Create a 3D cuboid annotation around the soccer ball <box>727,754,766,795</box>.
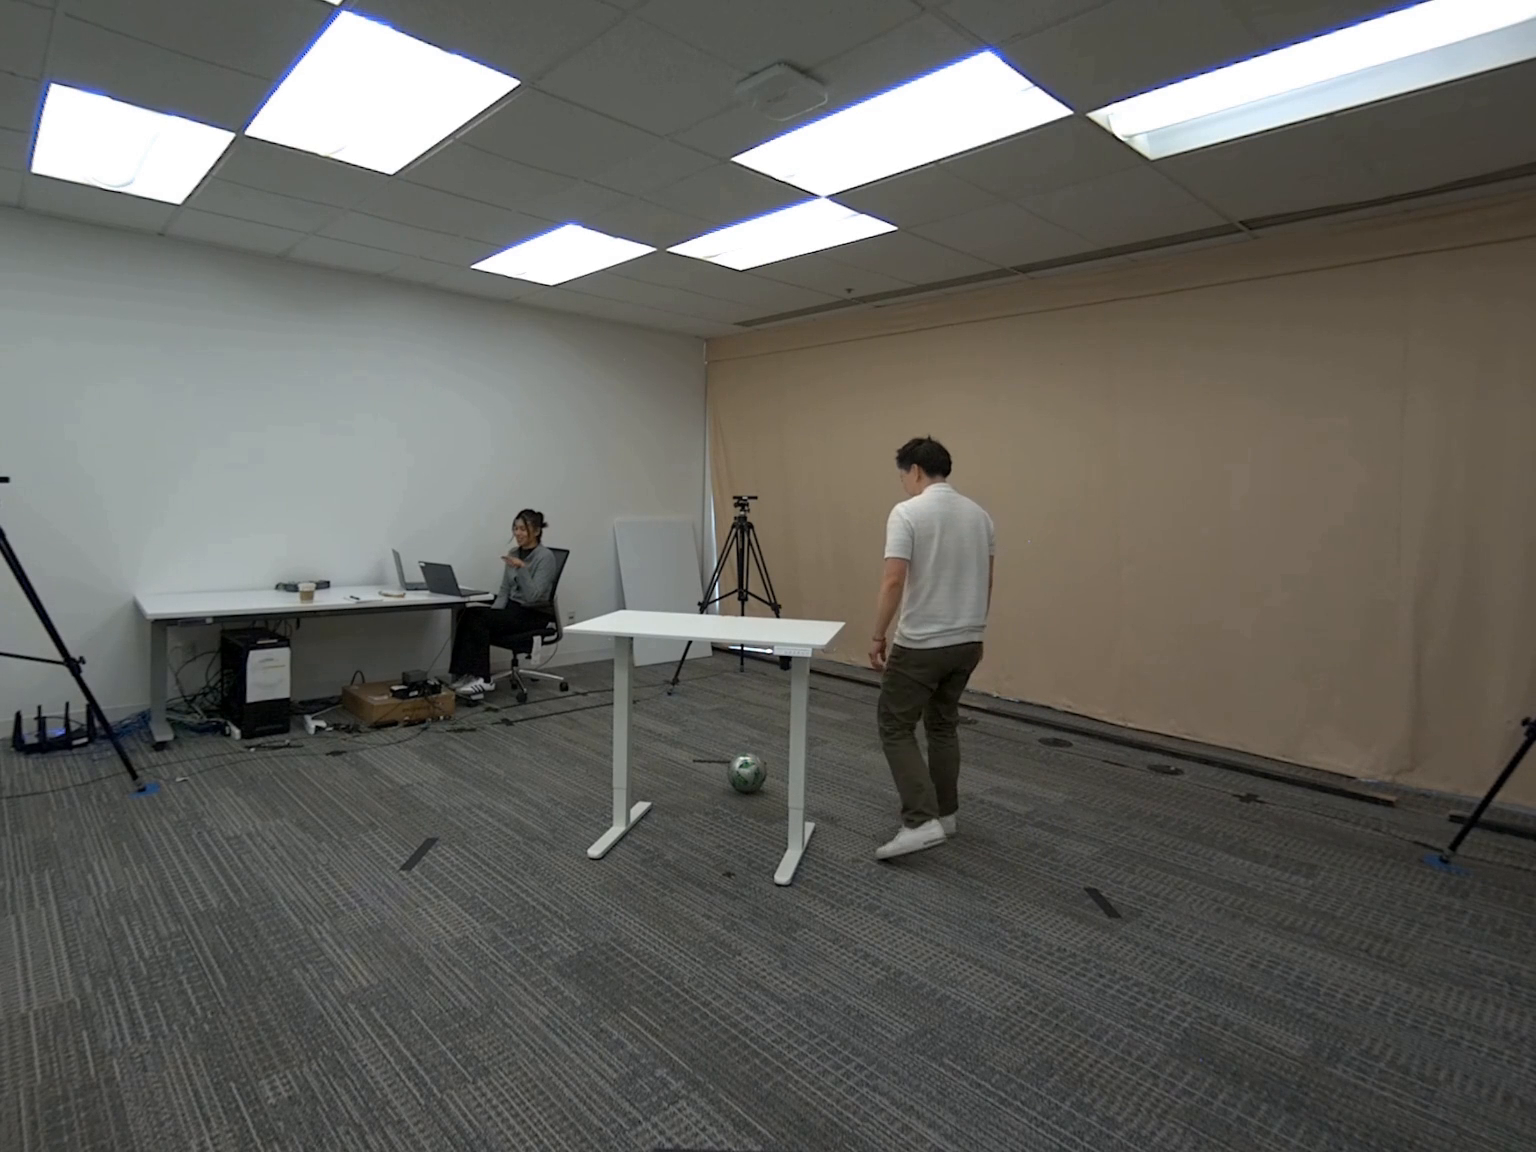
[{"bbox_3d":[-0.111,0.929,3.993,0.187,0.187,0.188,1,4,-1],"label":"soccer ball"}]
